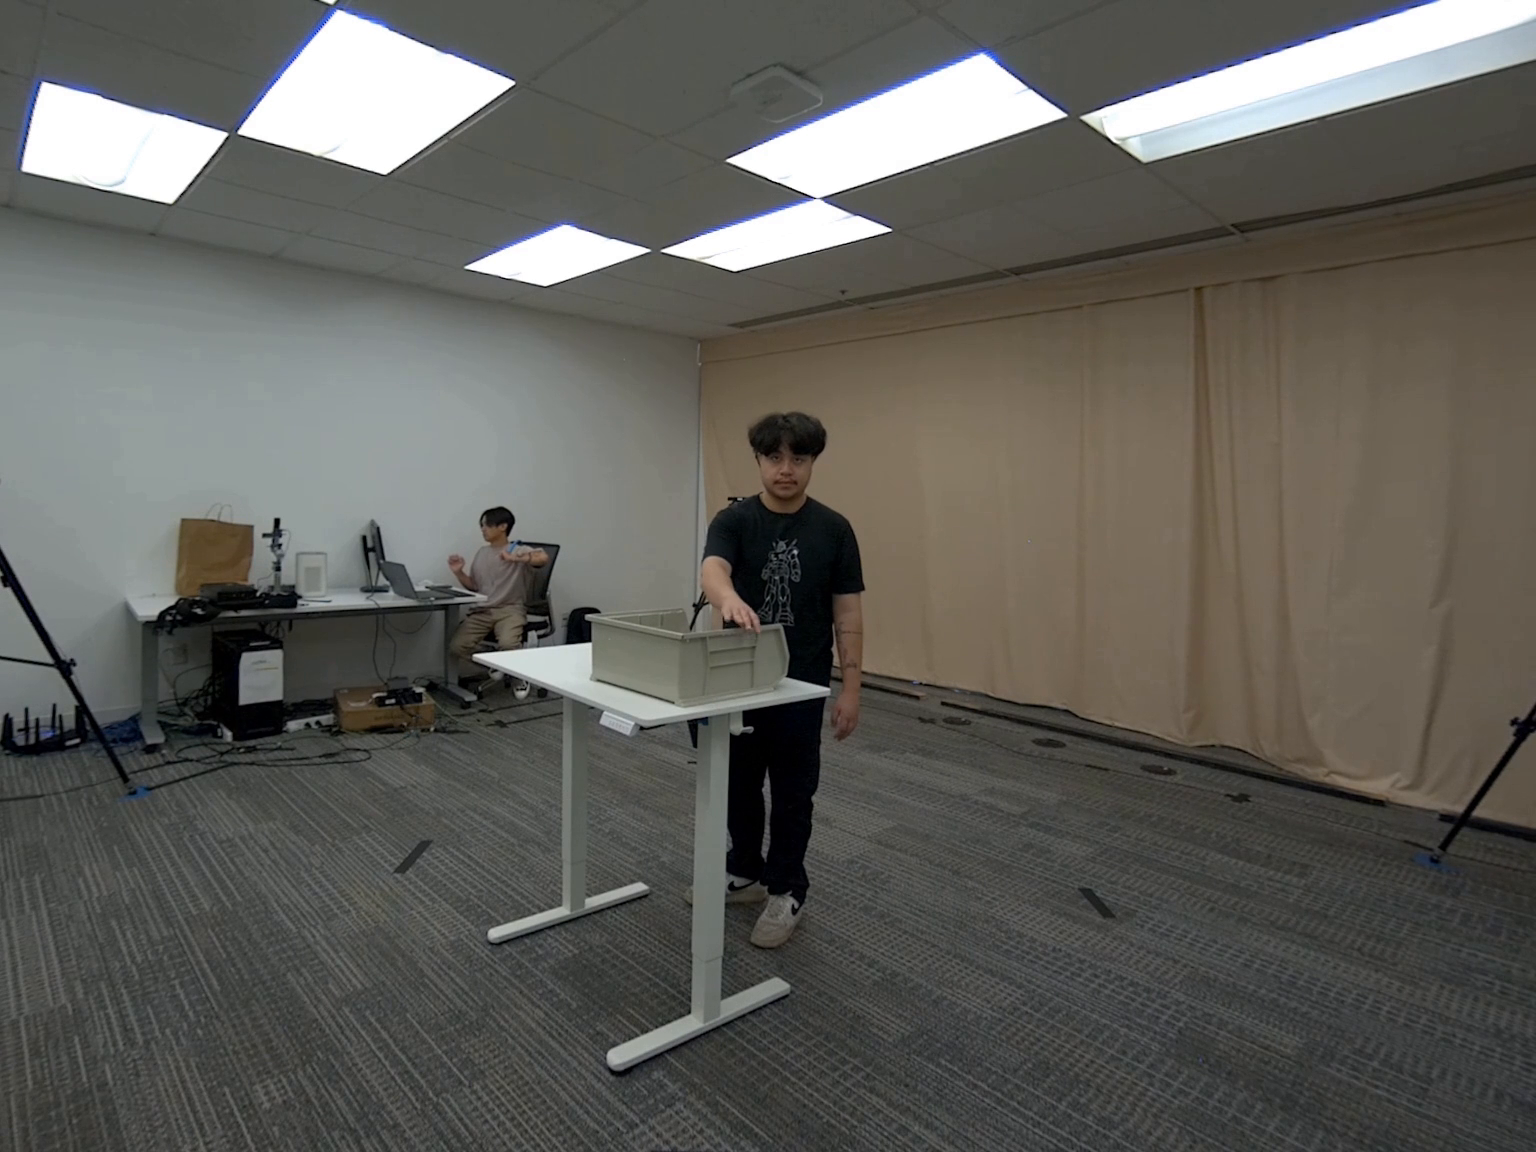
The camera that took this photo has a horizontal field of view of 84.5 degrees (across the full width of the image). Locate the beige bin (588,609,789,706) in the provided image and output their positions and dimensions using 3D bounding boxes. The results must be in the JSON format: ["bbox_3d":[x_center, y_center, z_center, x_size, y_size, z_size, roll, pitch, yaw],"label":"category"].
[{"bbox_3d":[-0.229,0.212,2.277,0.369,0.188,0.433,-4,7,-43],"label":"beige bin"}]
